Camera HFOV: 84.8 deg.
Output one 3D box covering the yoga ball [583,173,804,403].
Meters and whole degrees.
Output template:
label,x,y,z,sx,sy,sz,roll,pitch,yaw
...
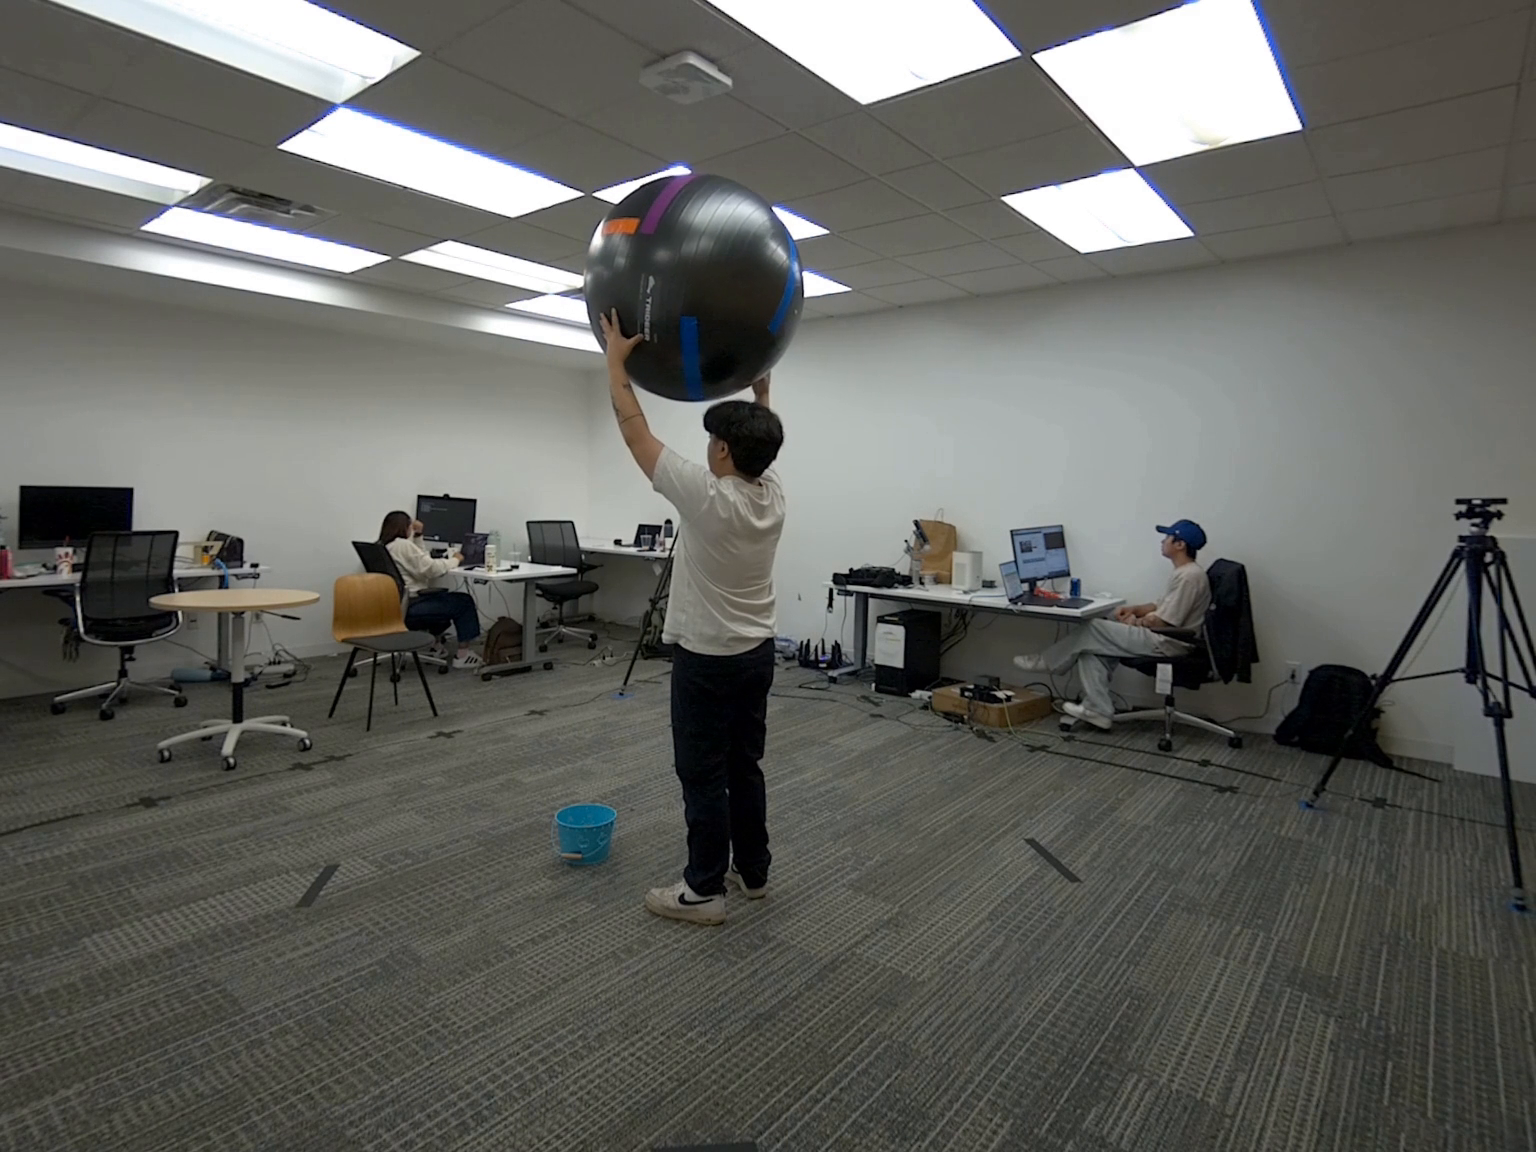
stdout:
label,x,y,z,sx,sy,sz,roll,pitch,yaw
yoga ball,-0.264,-0.982,2.930,0.757,0.755,0.762,1,4,-2
